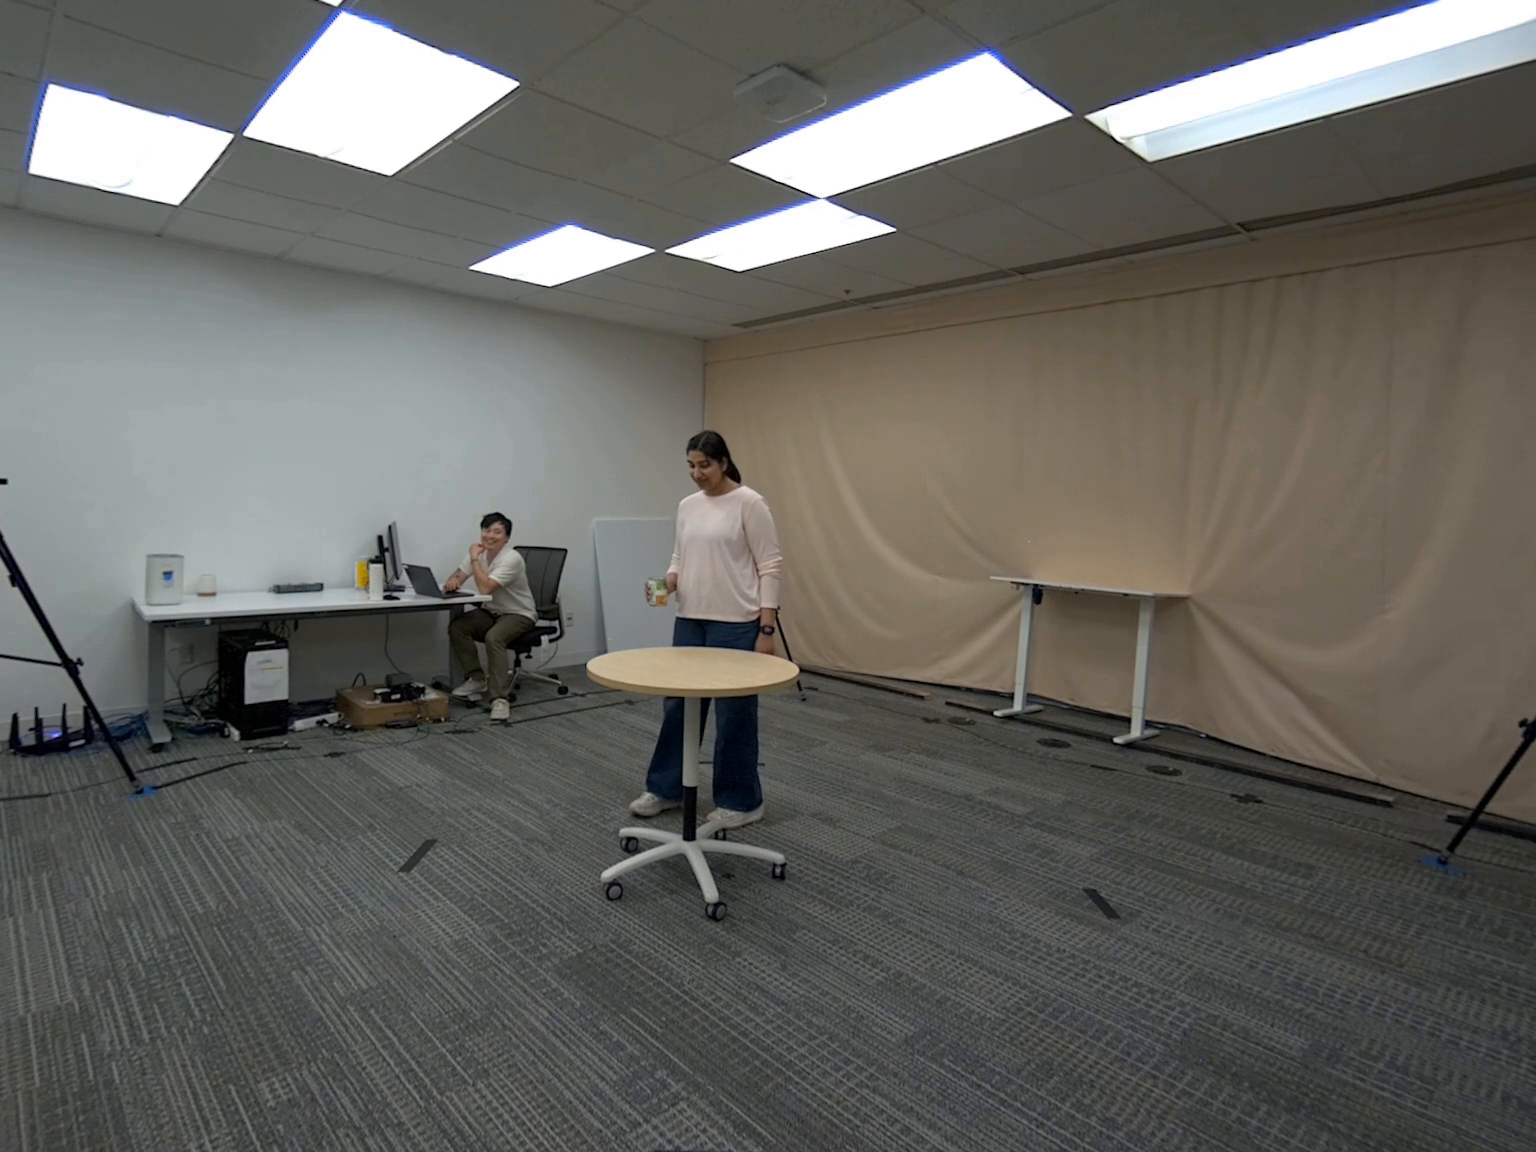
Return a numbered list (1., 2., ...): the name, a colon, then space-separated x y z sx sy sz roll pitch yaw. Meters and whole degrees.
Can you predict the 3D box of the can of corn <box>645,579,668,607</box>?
1. can of corn: -0.474 0.066 3.479 0.074 0.111 0.074 -1 1 -1
